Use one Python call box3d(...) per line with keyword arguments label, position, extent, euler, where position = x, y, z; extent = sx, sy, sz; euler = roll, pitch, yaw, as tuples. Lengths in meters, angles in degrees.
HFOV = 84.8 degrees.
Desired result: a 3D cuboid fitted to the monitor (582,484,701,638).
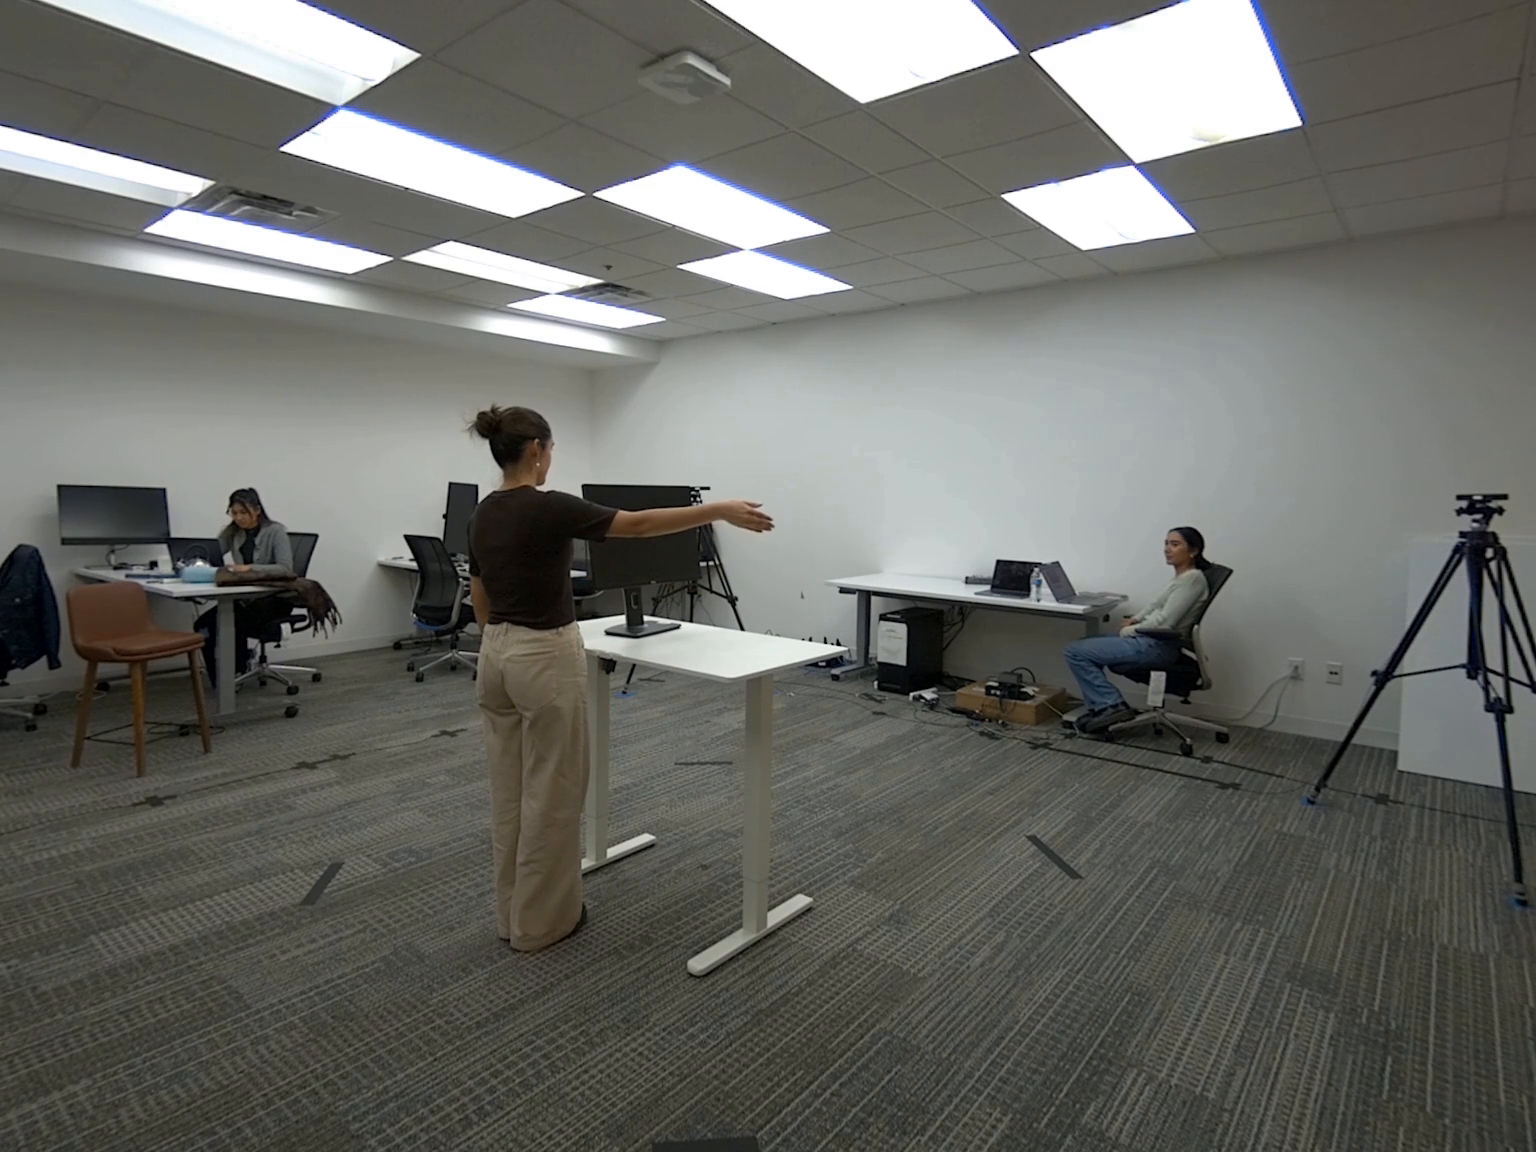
box3d(label="monitor", position=(-0.453, -0.060, 2.978), extent=(0.193, 0.520, 0.523), euler=(5, 6, 38))
